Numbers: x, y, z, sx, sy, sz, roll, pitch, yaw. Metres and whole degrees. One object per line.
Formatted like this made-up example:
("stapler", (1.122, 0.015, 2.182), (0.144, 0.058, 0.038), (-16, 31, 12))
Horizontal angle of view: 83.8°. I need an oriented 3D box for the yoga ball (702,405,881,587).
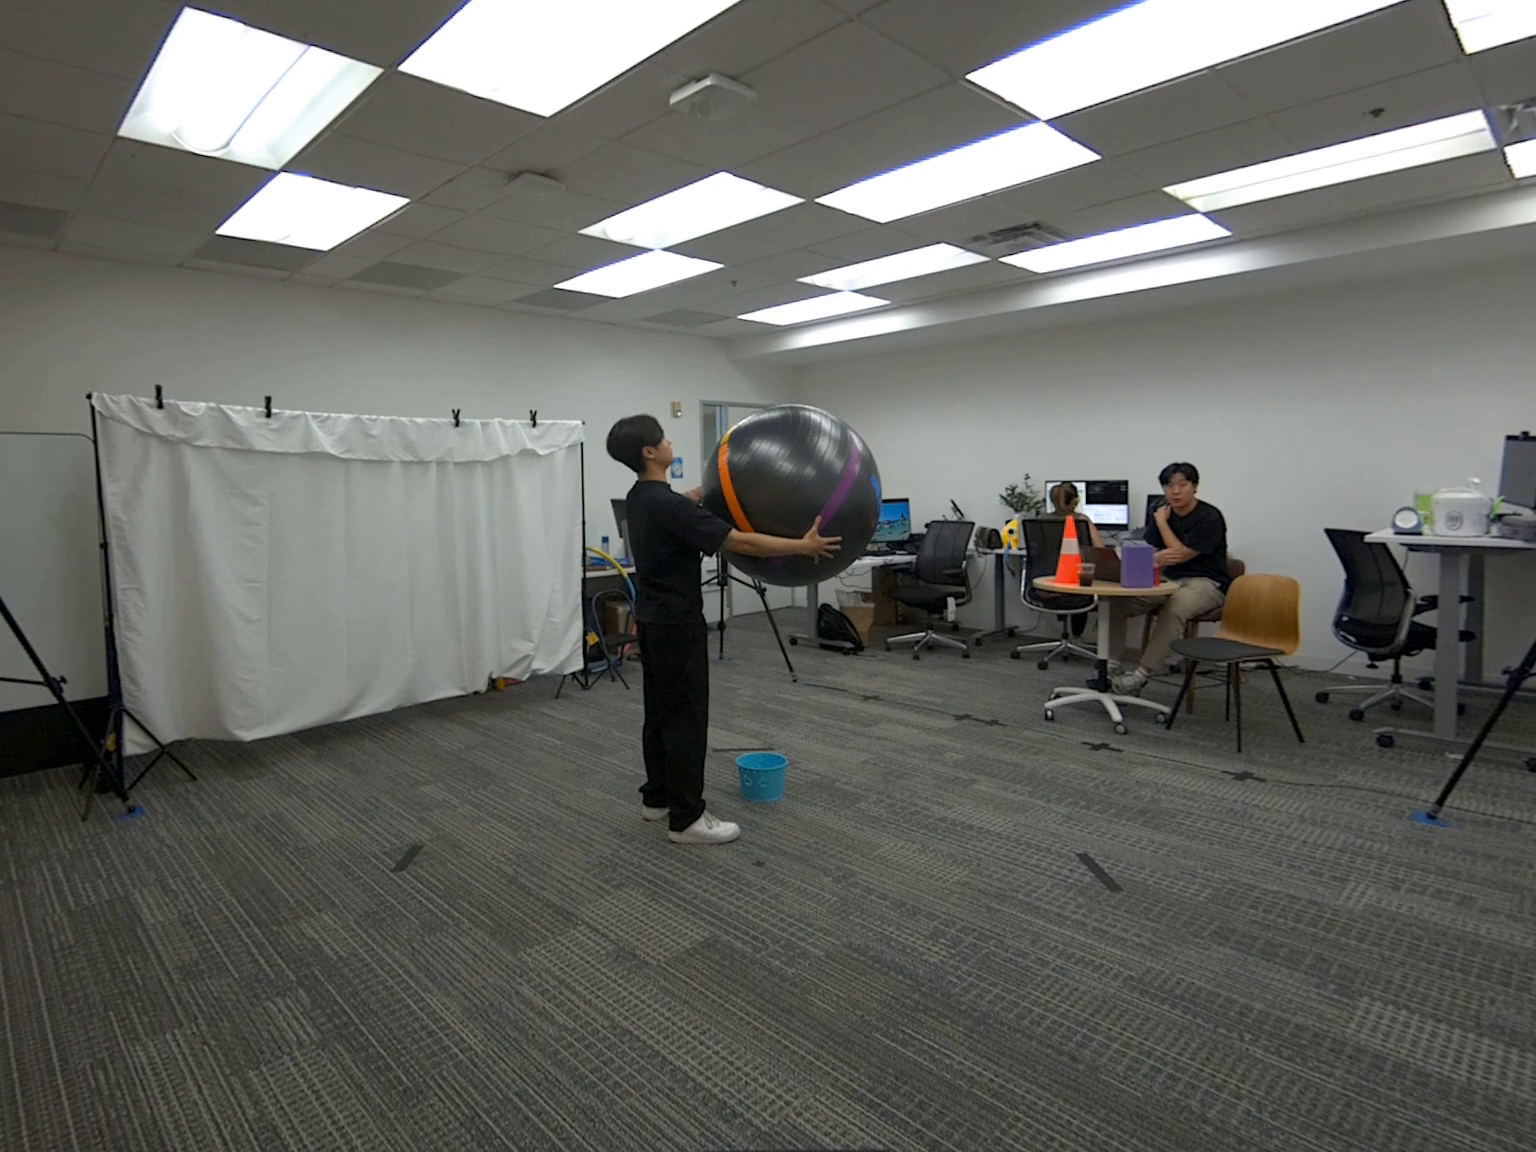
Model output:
("yoga ball", (0.099, -0.332, 3.595), (0.757, 0.755, 0.762), (-1, 5, -2))
